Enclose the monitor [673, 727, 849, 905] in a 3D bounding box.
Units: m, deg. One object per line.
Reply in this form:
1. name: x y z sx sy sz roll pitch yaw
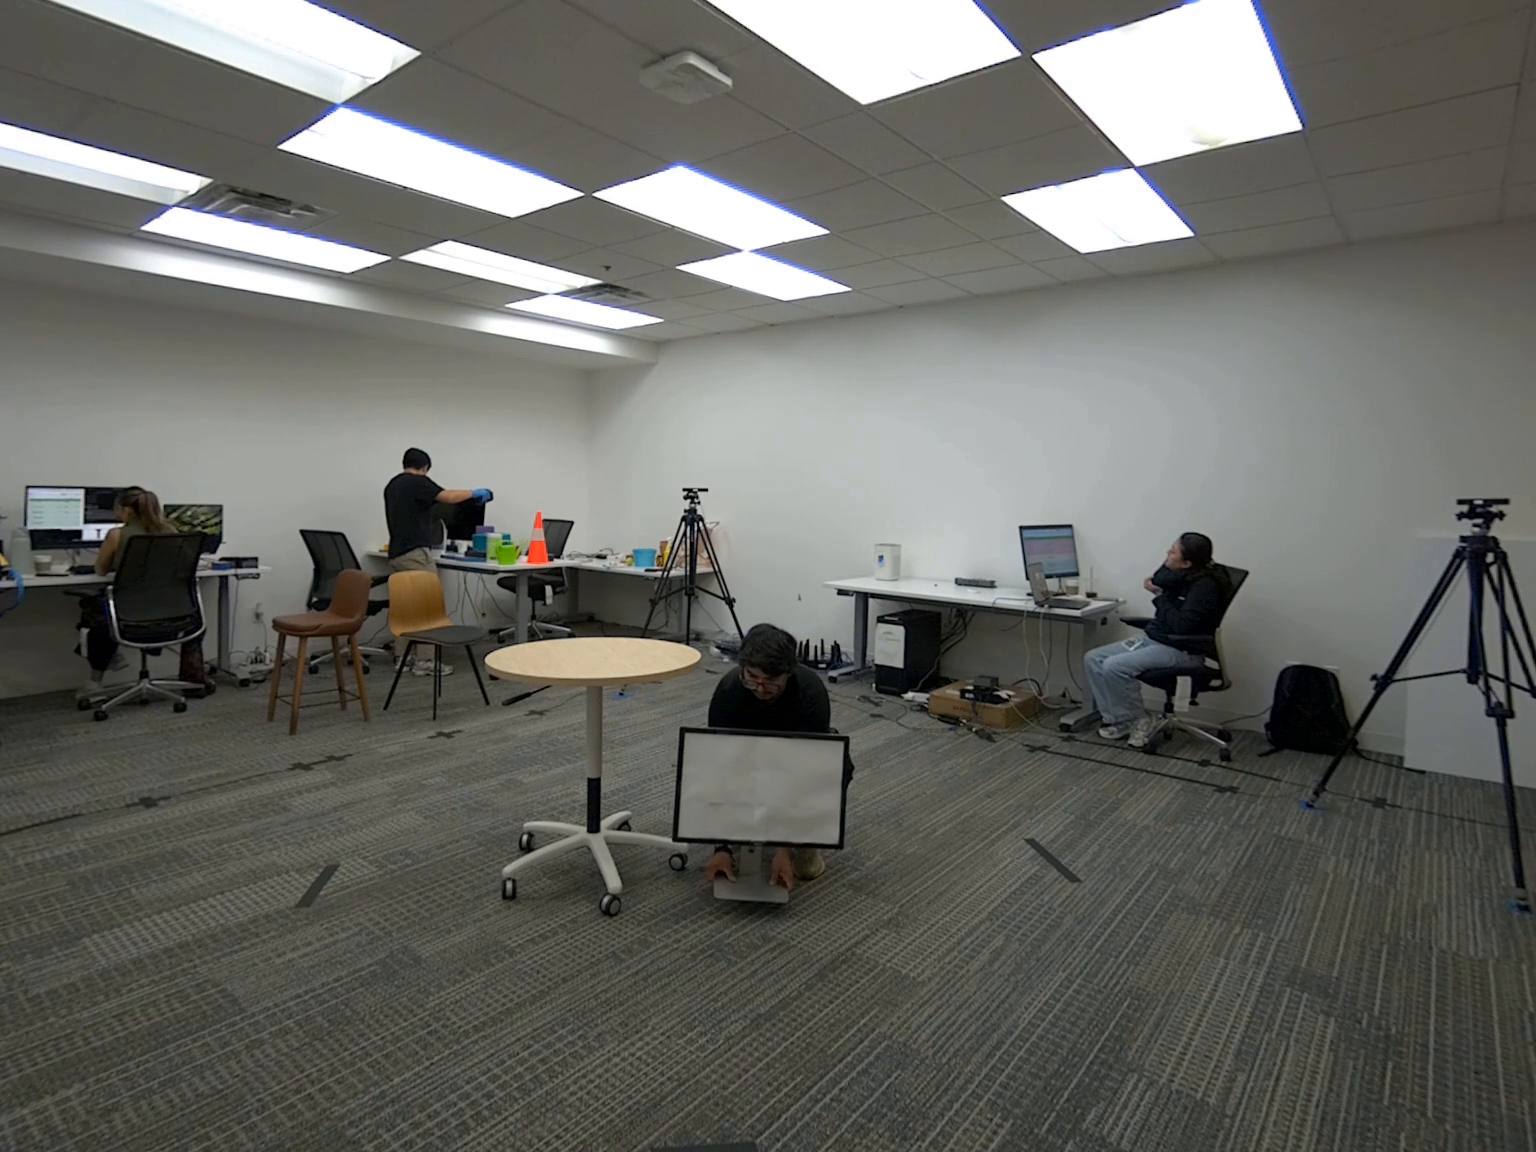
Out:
1. monitor: -0.046 0.759 2.834 0.561 0.553 0.212 3 3 -6
